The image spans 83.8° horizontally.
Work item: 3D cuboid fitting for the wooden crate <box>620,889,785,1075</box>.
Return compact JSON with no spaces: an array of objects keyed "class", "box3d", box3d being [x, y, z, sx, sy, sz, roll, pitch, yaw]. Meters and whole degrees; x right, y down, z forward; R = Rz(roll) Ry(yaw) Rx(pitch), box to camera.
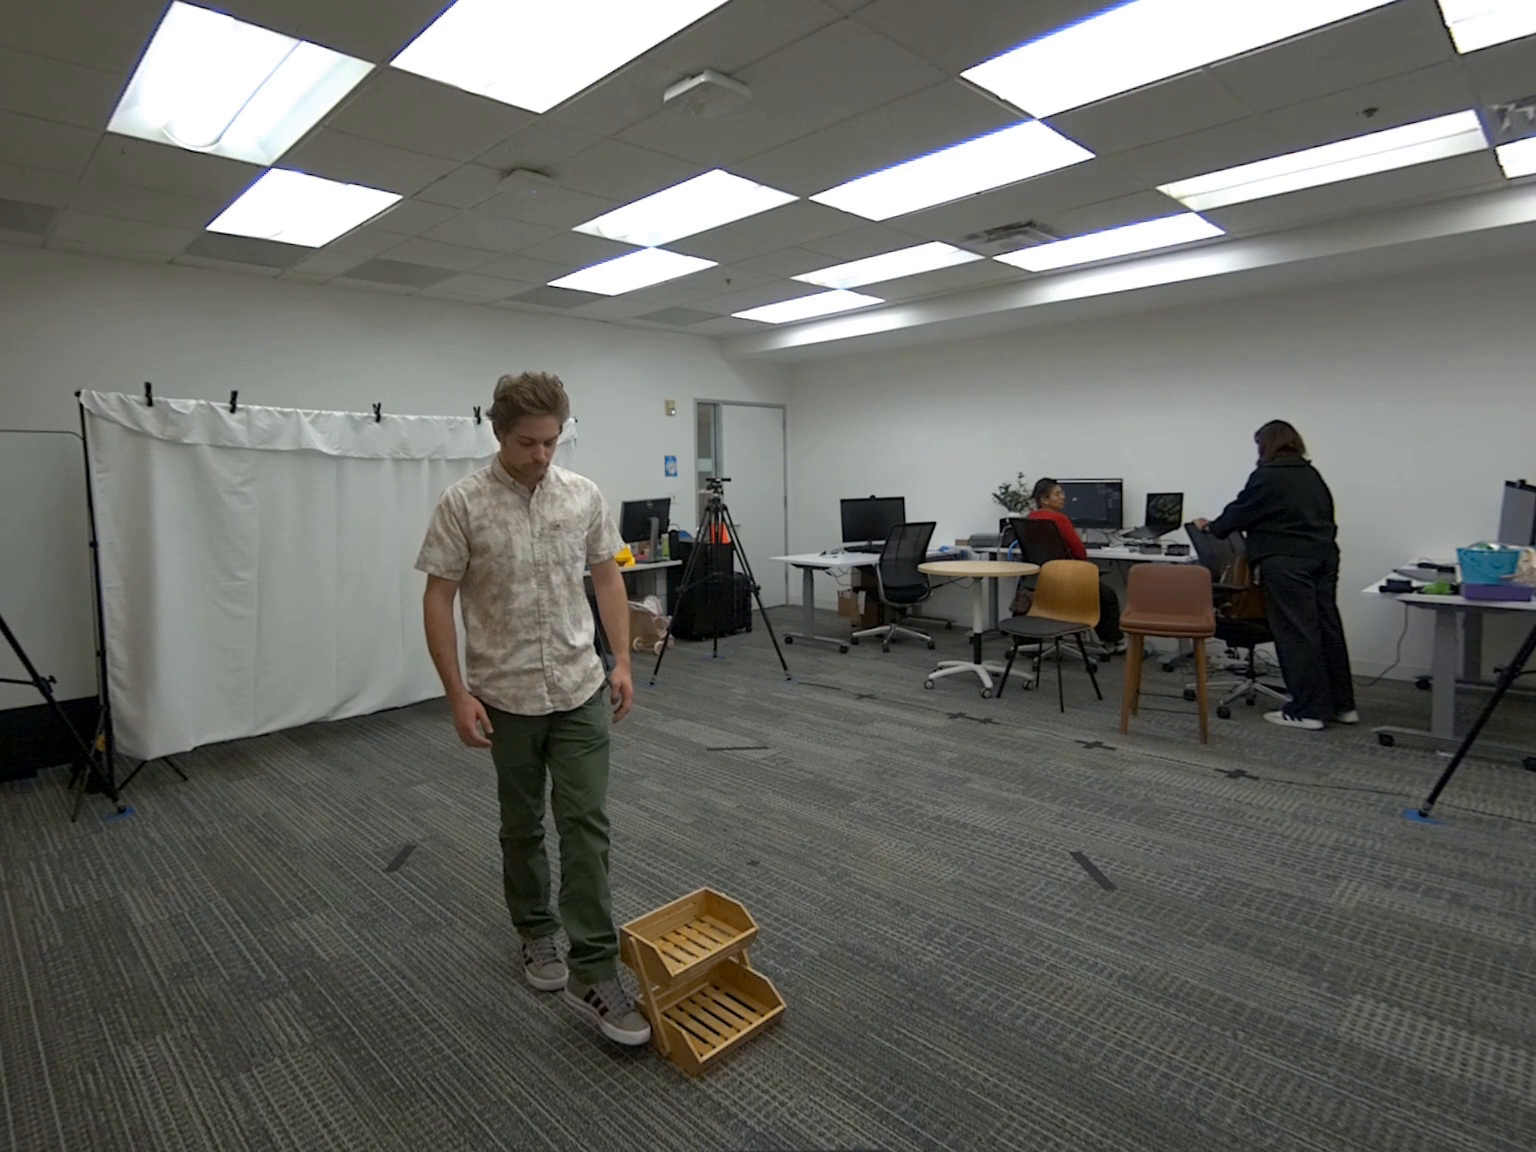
[{"class":"wooden crate","box3d":[-0.161,1.018,2.191,0.311,0.272,0.316,3,7,45]}]
